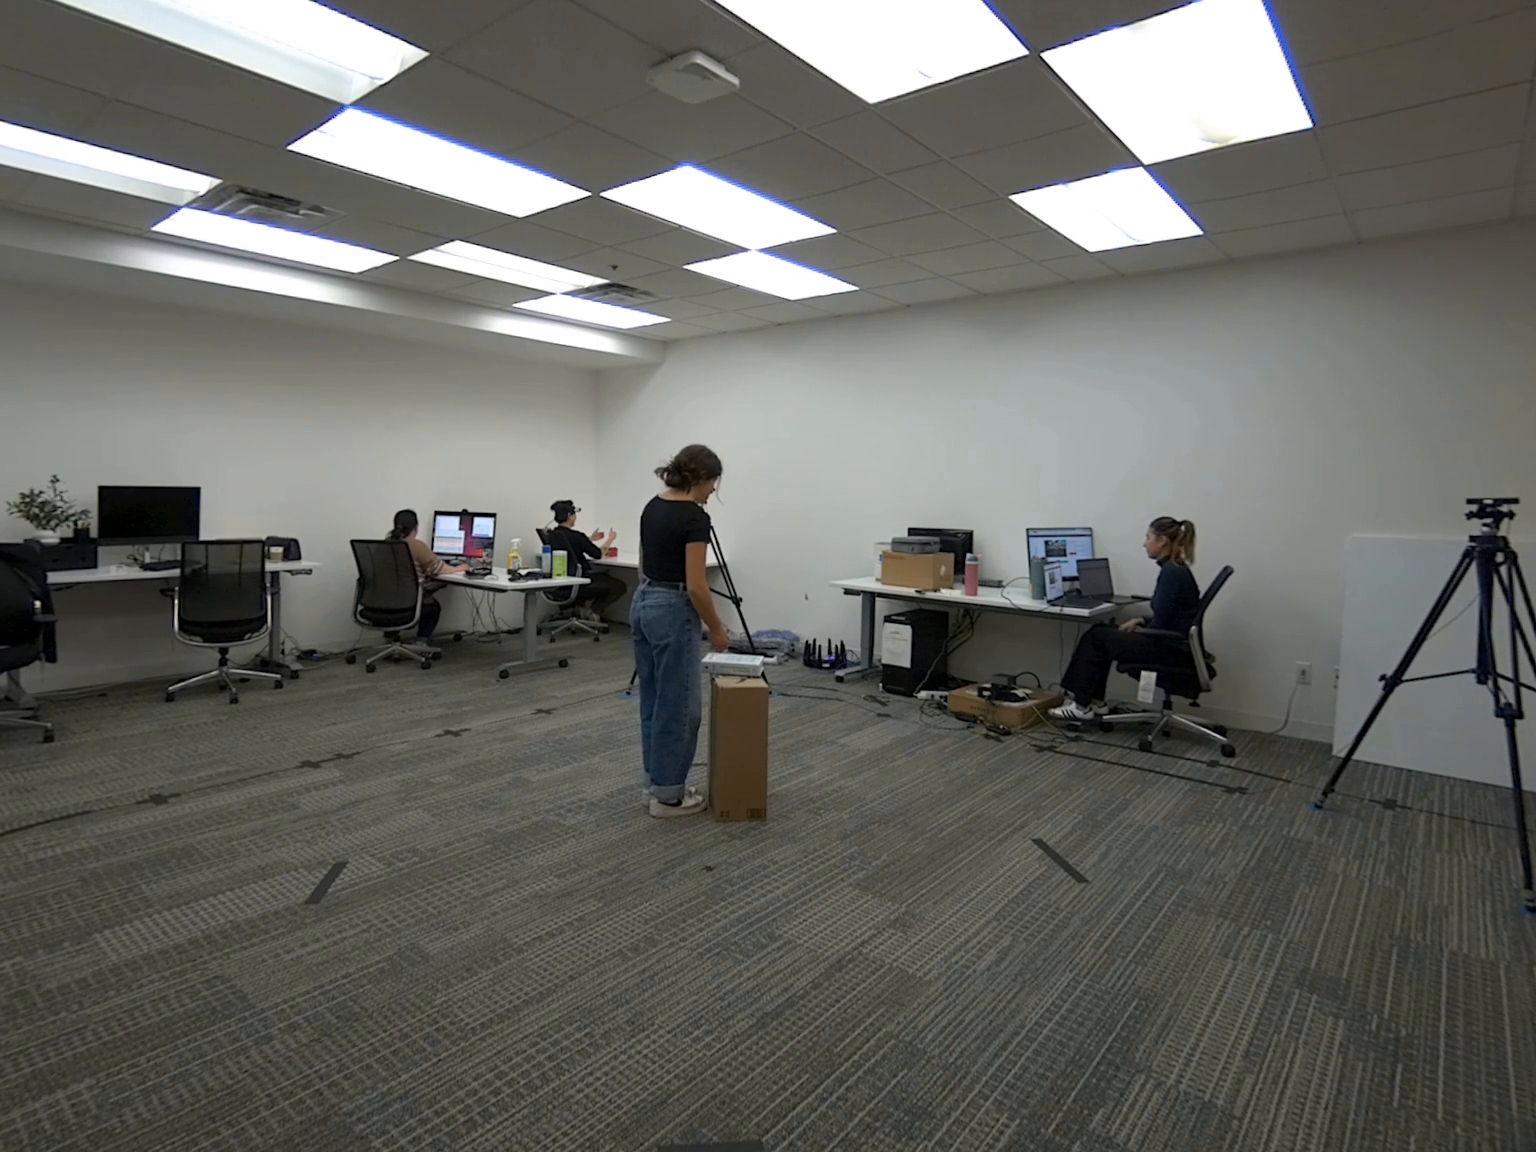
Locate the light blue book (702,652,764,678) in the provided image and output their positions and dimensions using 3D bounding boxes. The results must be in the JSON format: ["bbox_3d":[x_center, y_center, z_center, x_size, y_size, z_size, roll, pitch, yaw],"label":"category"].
[{"bbox_3d":[-0.173,0.403,3.875,0.263,0.059,0.190,3,6,7],"label":"light blue book"}]
